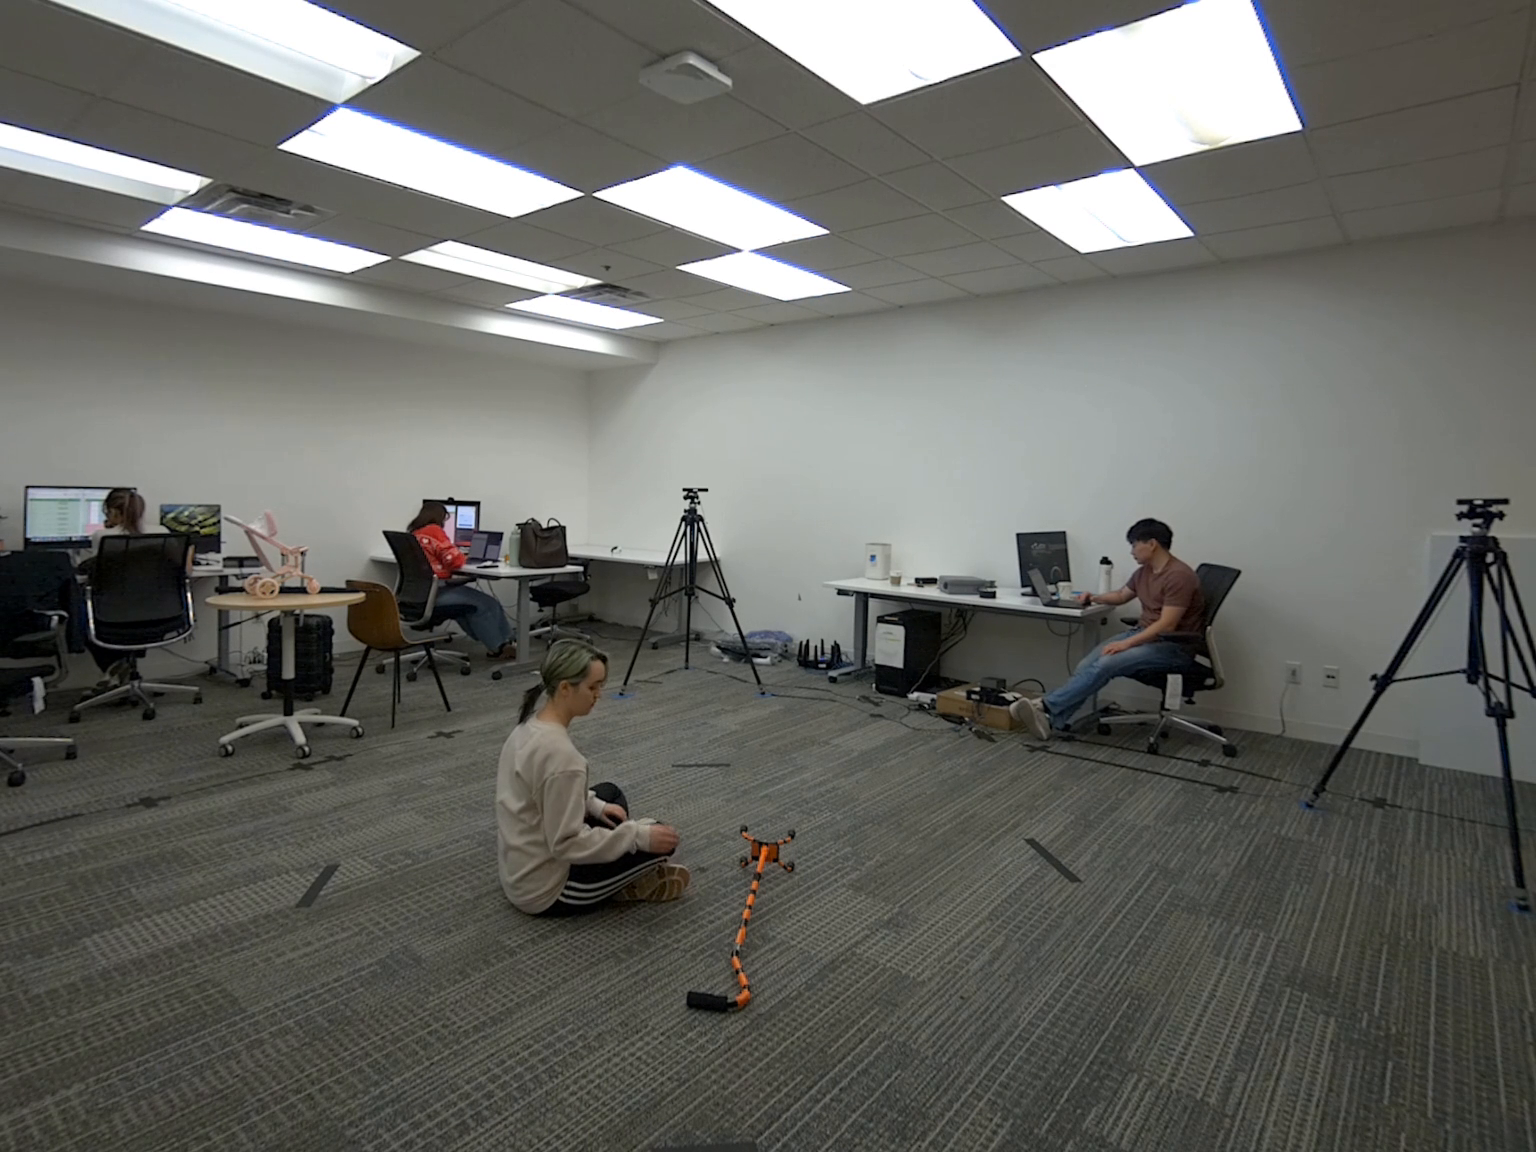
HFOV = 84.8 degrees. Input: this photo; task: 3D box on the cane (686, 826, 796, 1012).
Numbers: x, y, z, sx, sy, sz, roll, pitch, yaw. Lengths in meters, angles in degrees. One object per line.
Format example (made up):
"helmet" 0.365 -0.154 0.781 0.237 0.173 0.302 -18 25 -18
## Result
"cane" -0.065 1.066 2.695 0.209 0.150 0.905 3 10 8
